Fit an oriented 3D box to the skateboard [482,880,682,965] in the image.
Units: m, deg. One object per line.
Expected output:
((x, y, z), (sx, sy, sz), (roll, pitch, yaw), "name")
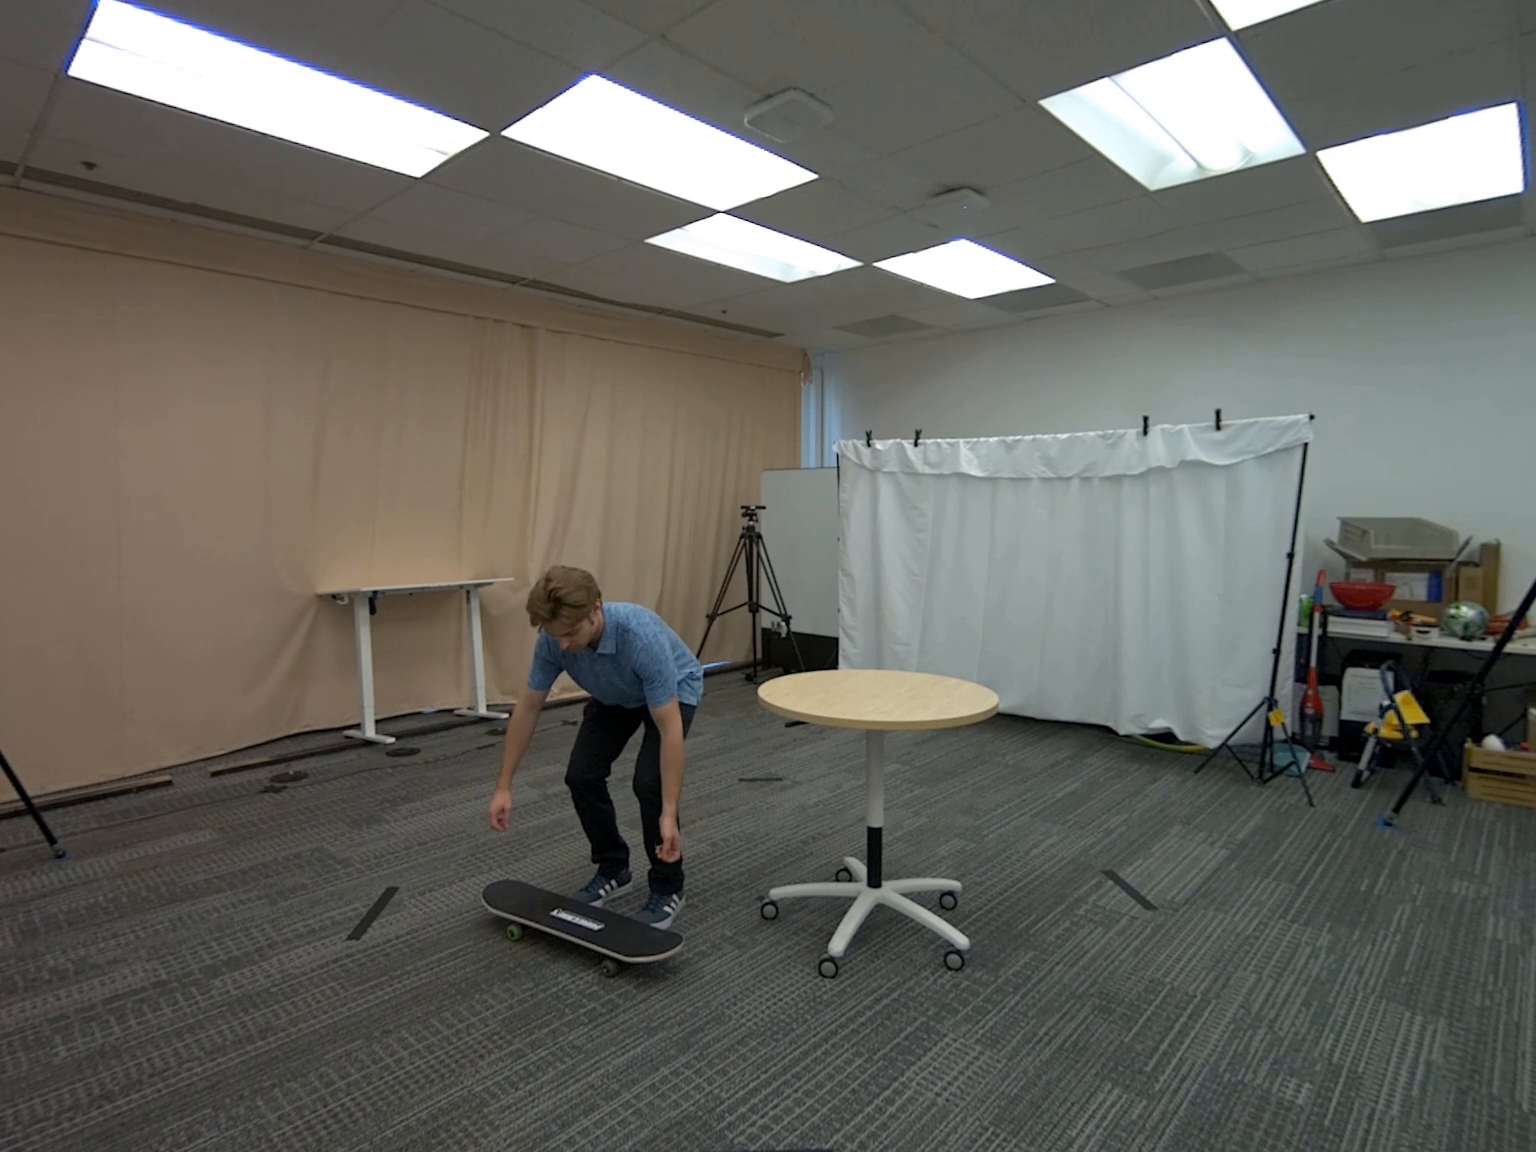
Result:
((-0.601, 1.116, 2.665), (0.808, 0.110, 0.188), (1, 4, 30), "skateboard")
